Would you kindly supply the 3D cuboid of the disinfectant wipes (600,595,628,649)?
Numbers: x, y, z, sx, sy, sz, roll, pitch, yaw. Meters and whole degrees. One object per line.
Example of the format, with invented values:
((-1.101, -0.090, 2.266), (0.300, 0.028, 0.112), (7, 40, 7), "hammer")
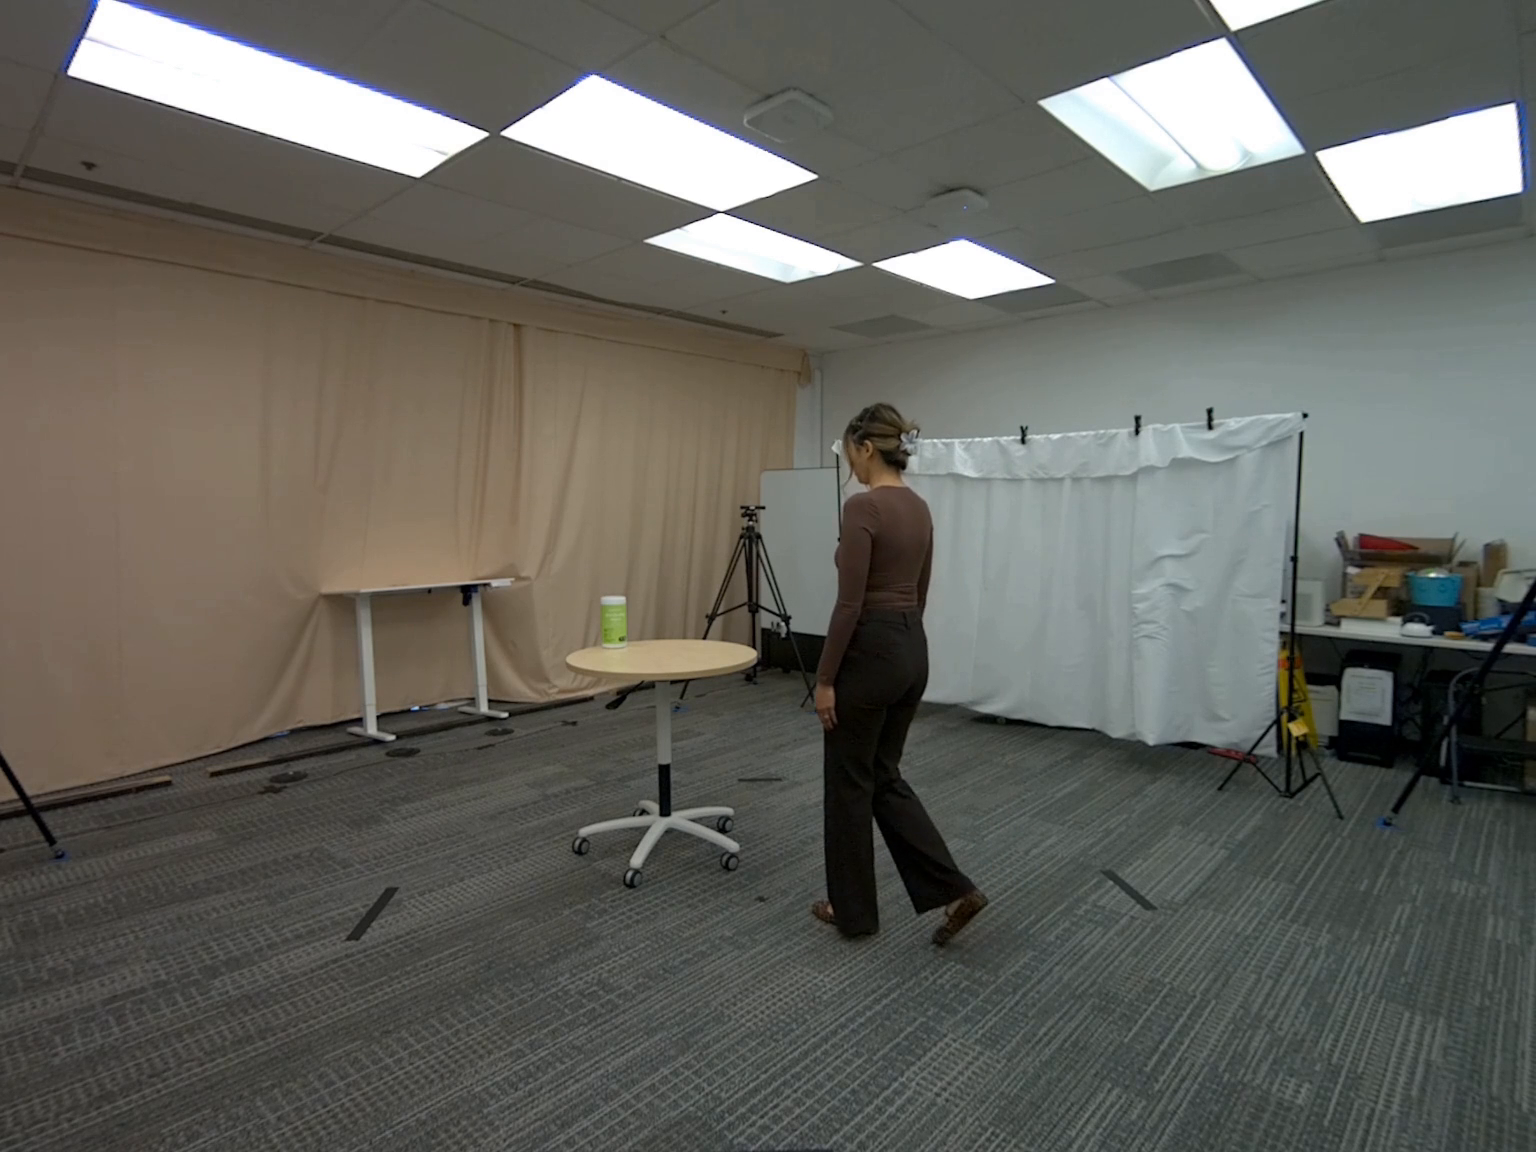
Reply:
((-0.667, 0.200, 3.605), (0.118, 0.217, 0.118), (-1, 2, -2), "disinfectant wipes")
